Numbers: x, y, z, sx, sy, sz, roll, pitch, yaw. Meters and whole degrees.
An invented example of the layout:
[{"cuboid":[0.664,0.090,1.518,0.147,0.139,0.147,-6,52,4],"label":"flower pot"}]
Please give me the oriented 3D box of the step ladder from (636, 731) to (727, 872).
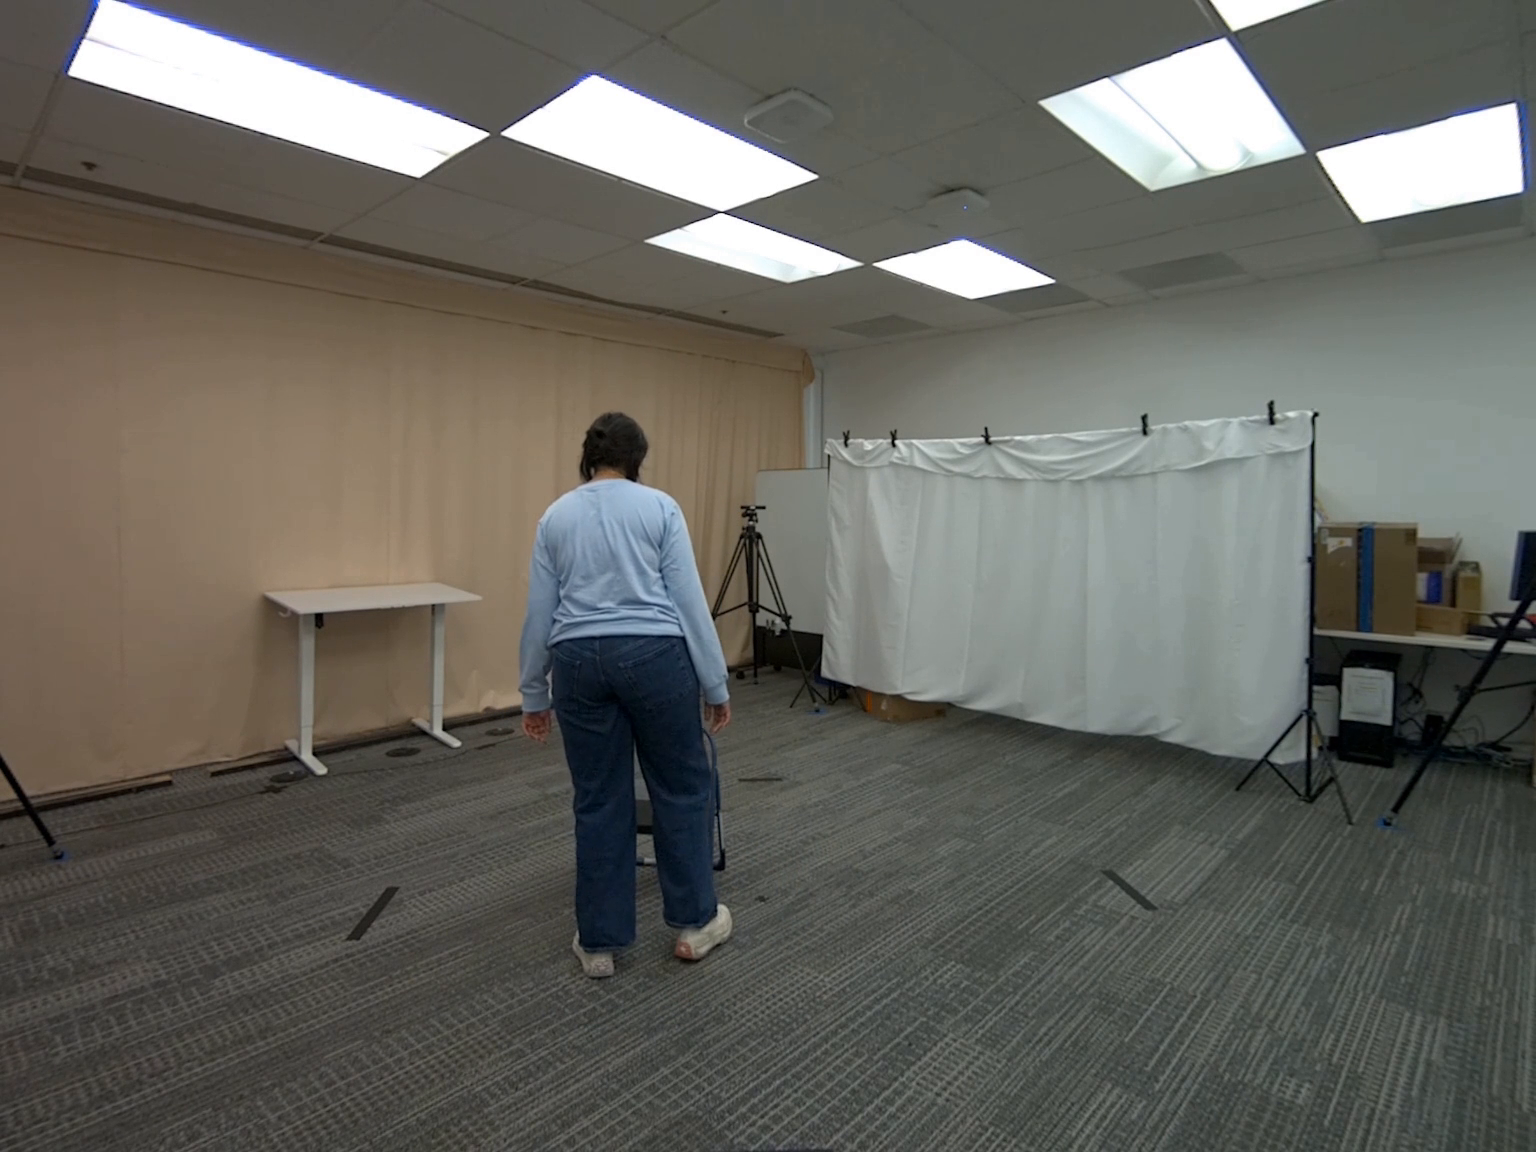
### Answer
[{"cuboid":[-0.388,0.836,3.087,0.435,0.605,0.347,0,4,8],"label":"step ladder"}]
